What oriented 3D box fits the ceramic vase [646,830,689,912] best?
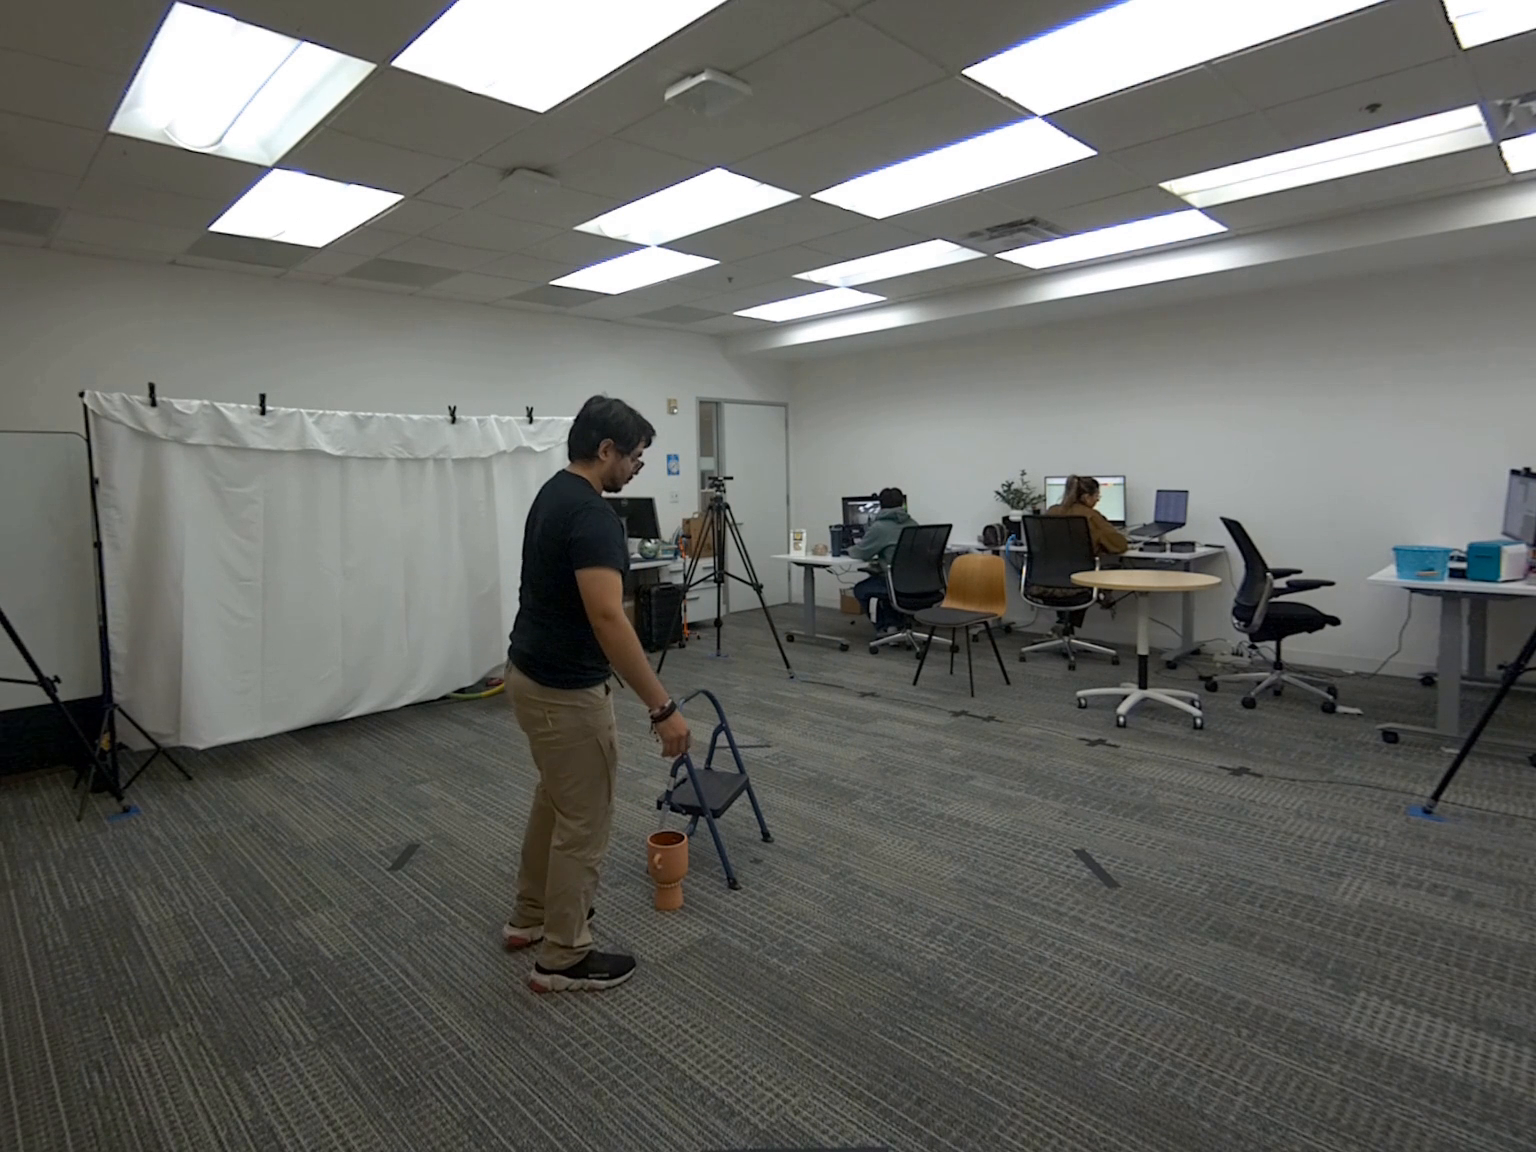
[{"bbox_3d":[-0.330,0.969,2.803,0.155,0.219,0.138,-4,5,-31],"label":"ceramic vase"}]
